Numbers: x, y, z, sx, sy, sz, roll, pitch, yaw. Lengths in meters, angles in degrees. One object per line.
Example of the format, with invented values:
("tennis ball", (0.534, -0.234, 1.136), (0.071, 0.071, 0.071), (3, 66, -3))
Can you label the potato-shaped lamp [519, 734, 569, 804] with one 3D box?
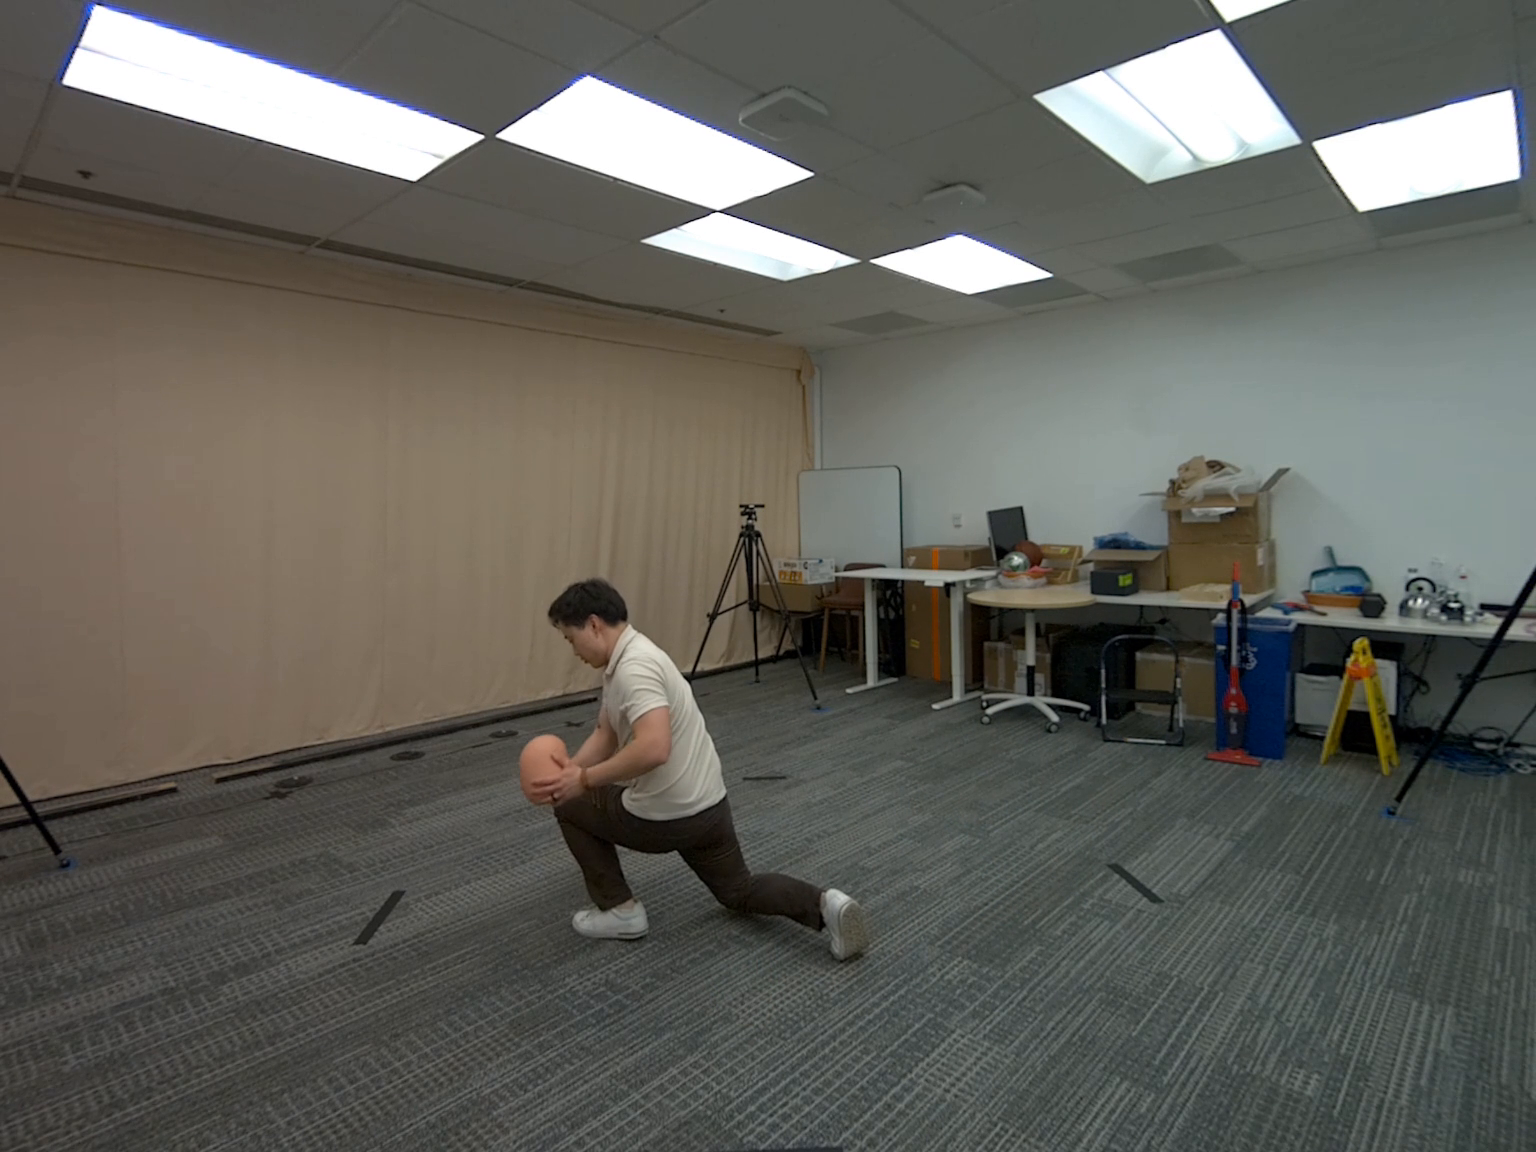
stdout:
("potato-shaped lamp", (-0.648, 0.565, 2.507), (0.168, 0.200, 0.166), (-11, -12, -23))
